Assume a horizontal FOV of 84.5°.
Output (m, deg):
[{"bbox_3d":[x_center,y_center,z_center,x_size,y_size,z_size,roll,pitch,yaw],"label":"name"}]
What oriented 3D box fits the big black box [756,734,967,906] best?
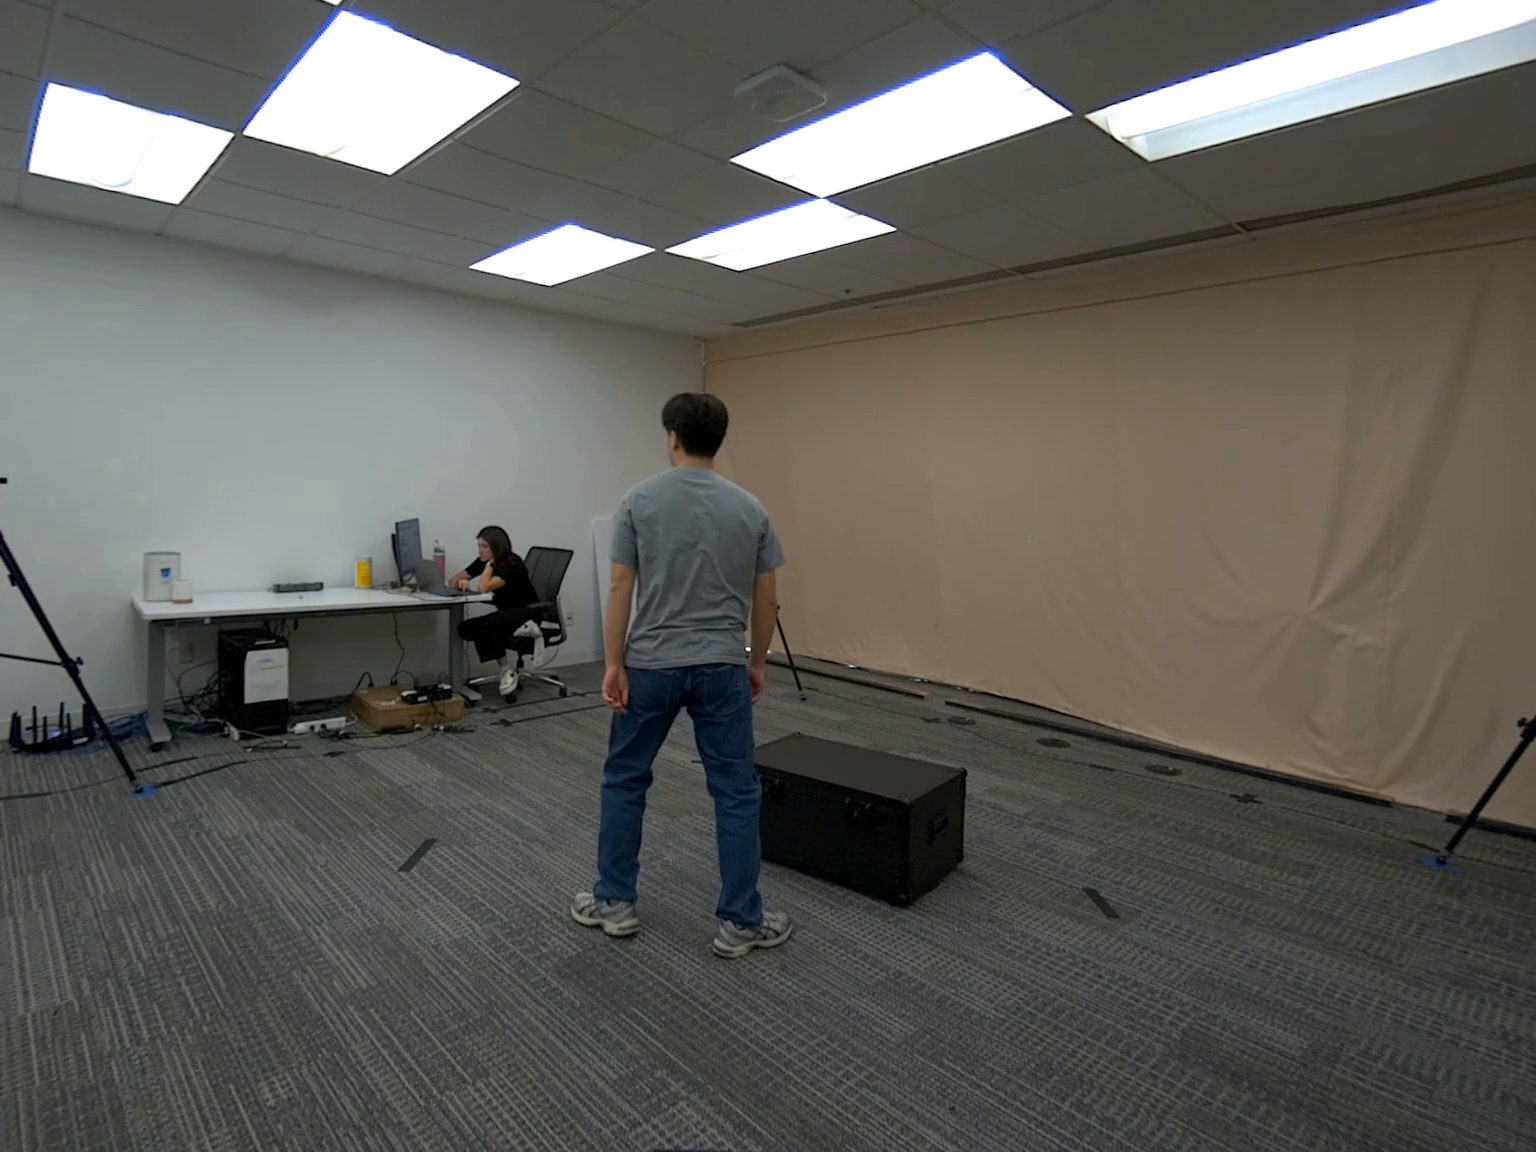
[{"bbox_3d":[0.266,0.909,3.291,0.883,0.395,0.510,5,6,37],"label":"big black box"}]
